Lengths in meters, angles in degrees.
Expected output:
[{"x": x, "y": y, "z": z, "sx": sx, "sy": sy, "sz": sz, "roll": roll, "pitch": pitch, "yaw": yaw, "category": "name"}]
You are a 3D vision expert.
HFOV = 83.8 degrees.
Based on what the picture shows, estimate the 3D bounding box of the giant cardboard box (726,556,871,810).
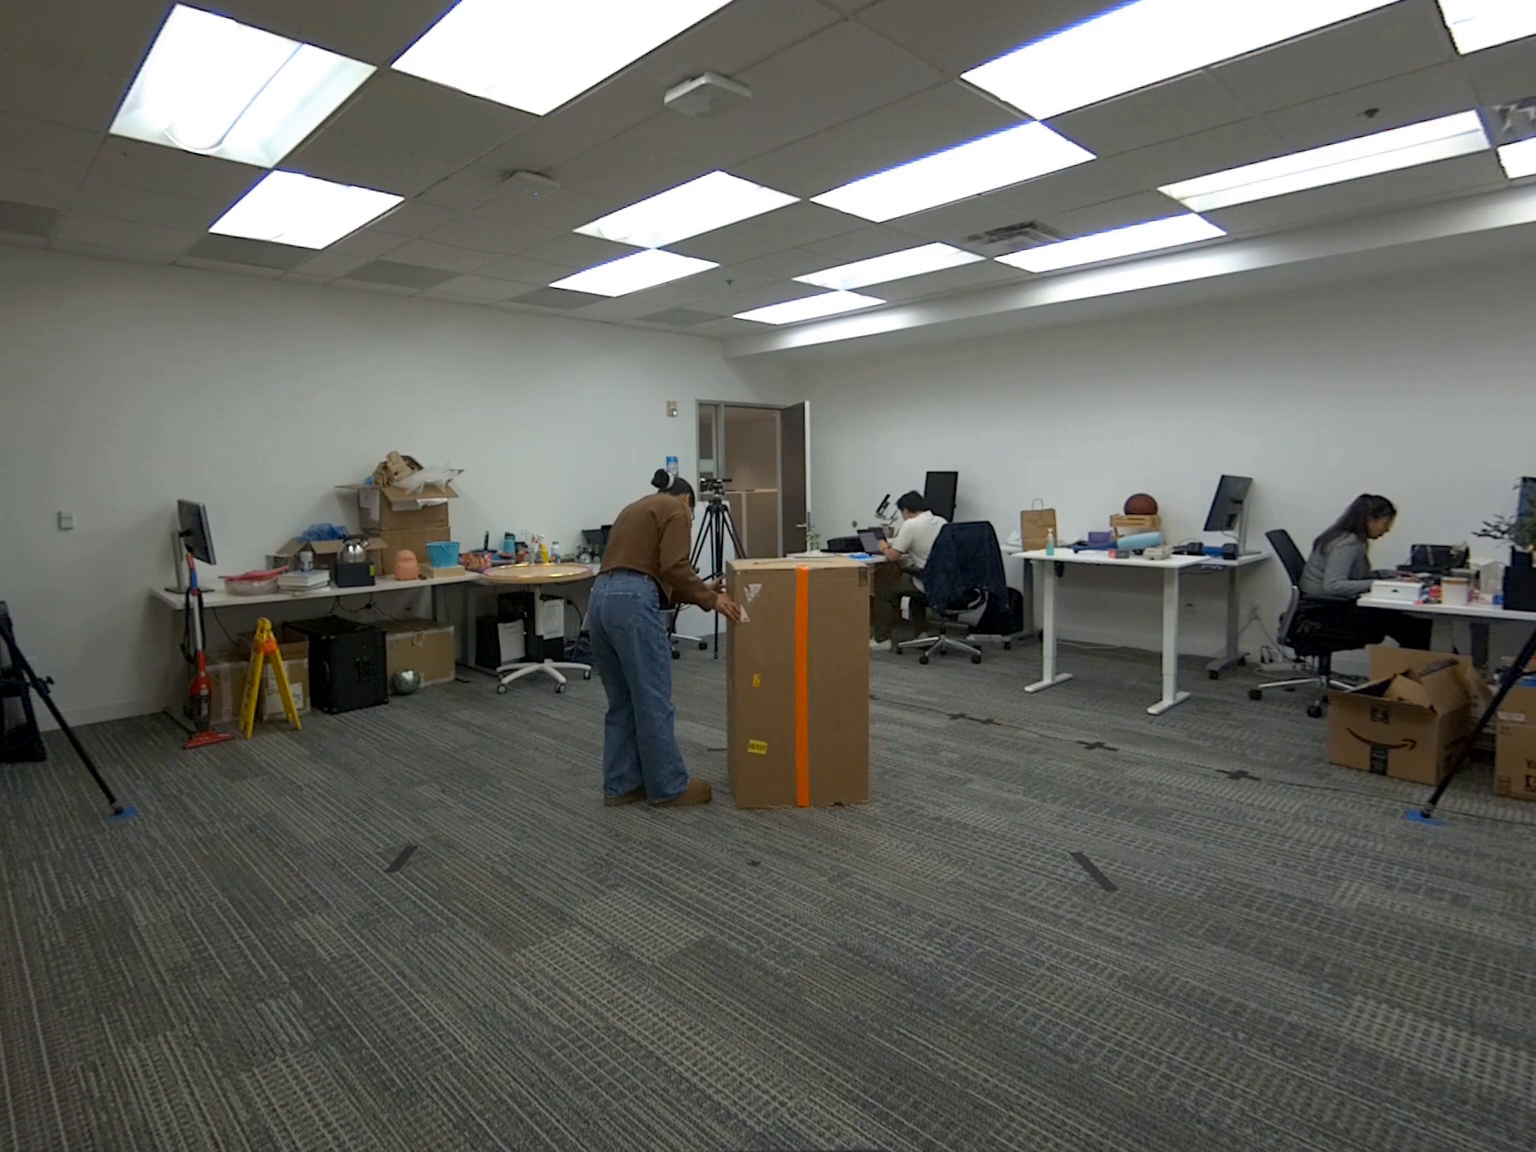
[{"x": 0.119, "y": 0.449, "z": 3.803, "sx": 0.575, "sy": 1.022, "sz": 0.430, "roll": -1, "pitch": 4, "yaw": -5, "category": "giant cardboard box"}]
